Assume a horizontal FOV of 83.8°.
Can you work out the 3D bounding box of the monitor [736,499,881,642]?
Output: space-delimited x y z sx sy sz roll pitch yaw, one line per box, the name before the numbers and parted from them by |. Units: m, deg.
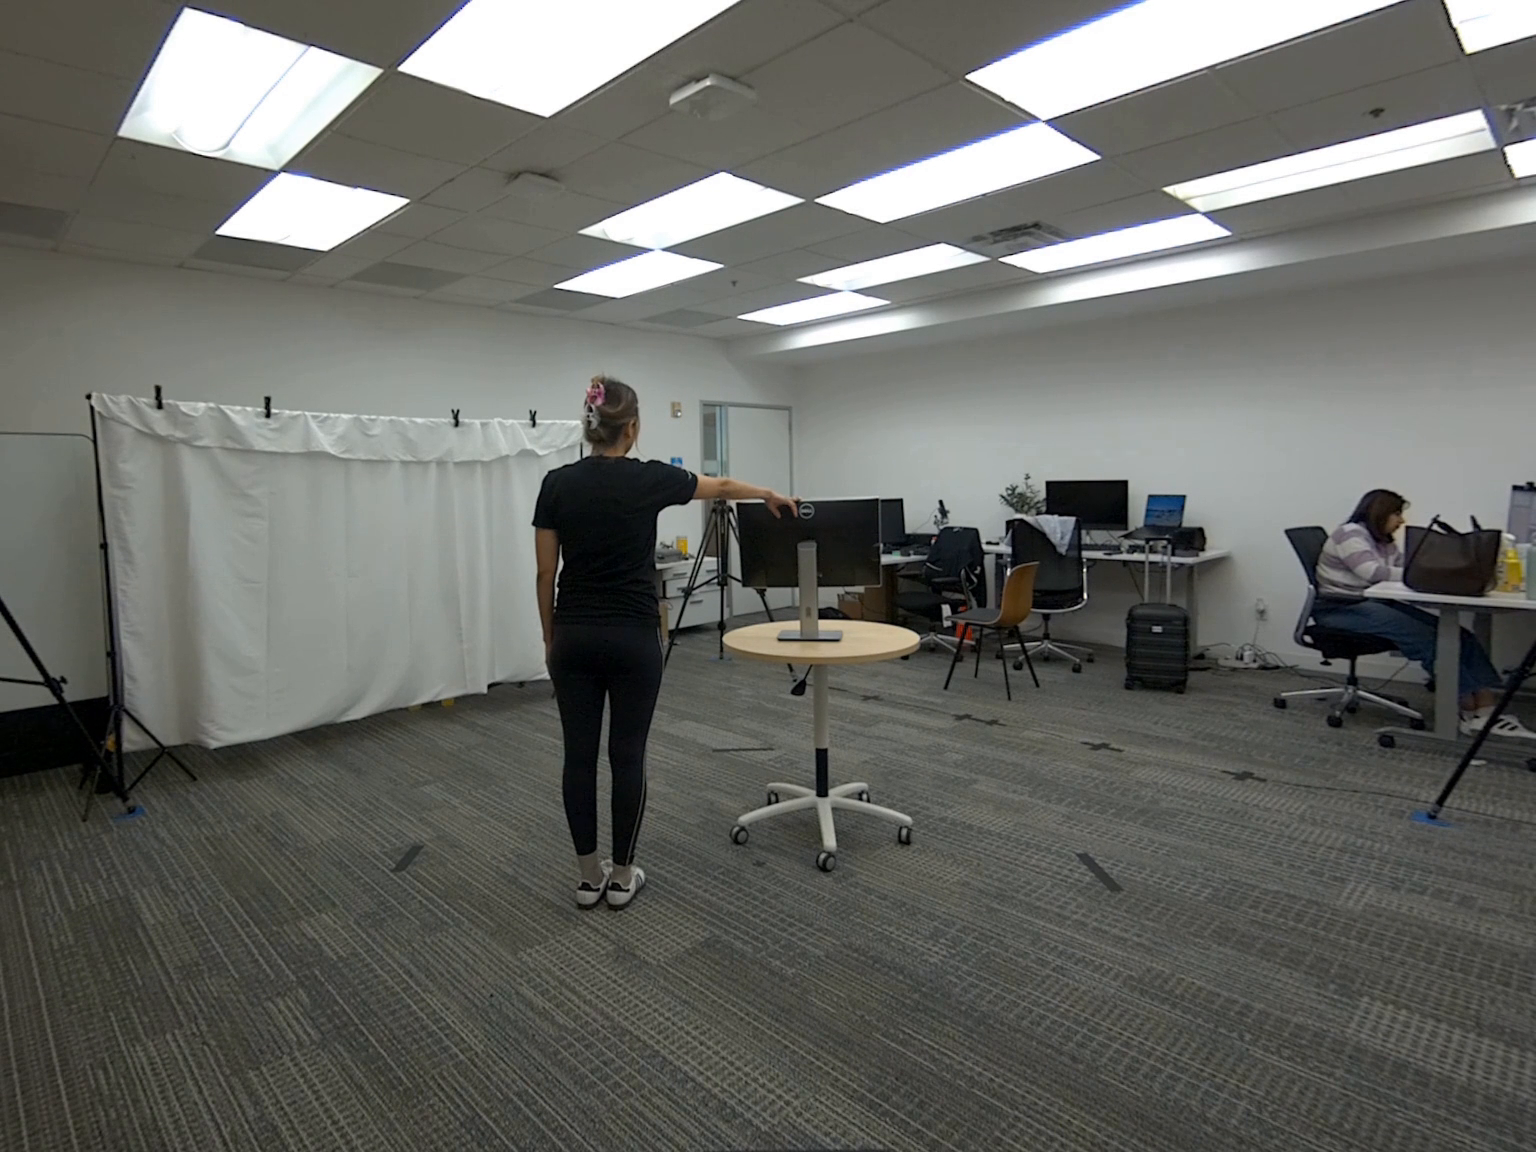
monitor | 0.155 -0.022 3.327 0.543 0.521 0.186 -2 4 8
